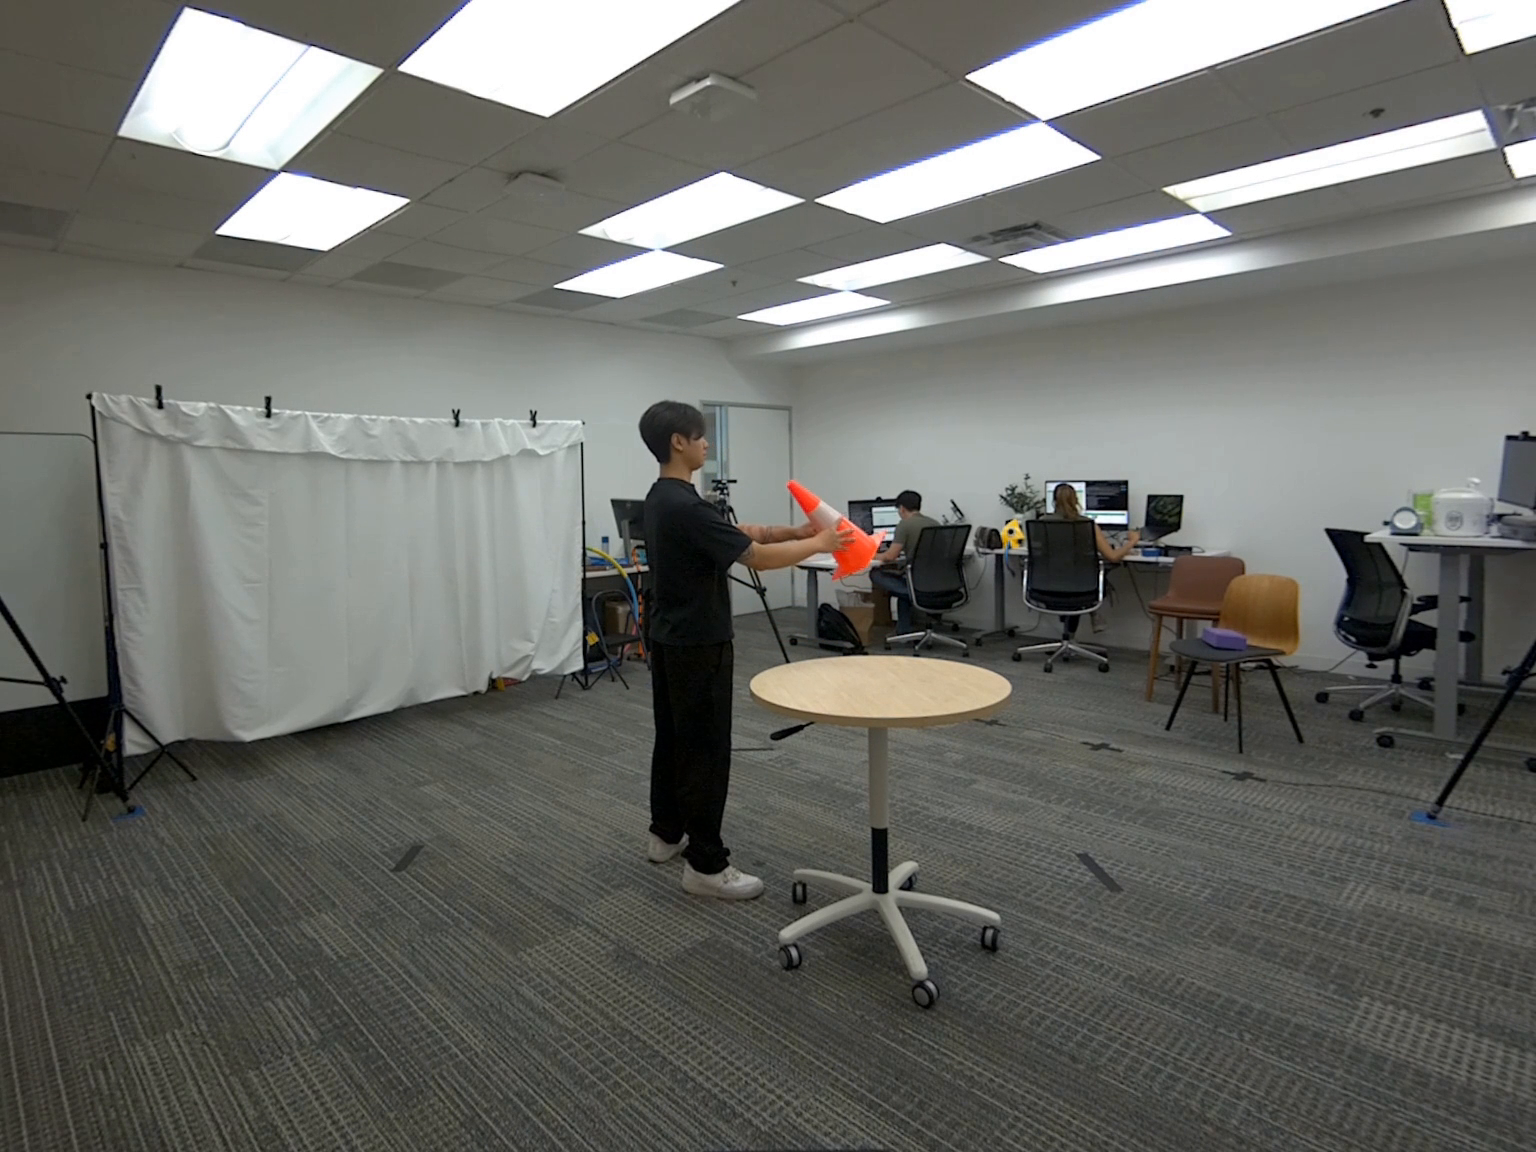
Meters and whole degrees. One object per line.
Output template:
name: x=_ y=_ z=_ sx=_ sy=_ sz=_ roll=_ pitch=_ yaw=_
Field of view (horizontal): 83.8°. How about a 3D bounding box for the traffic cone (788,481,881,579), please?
traffic cone: x=0.199 y=-0.198 z=3.054 sx=0.205 sy=0.378 sz=0.205 roll=-52 pitch=12 yaw=-27
